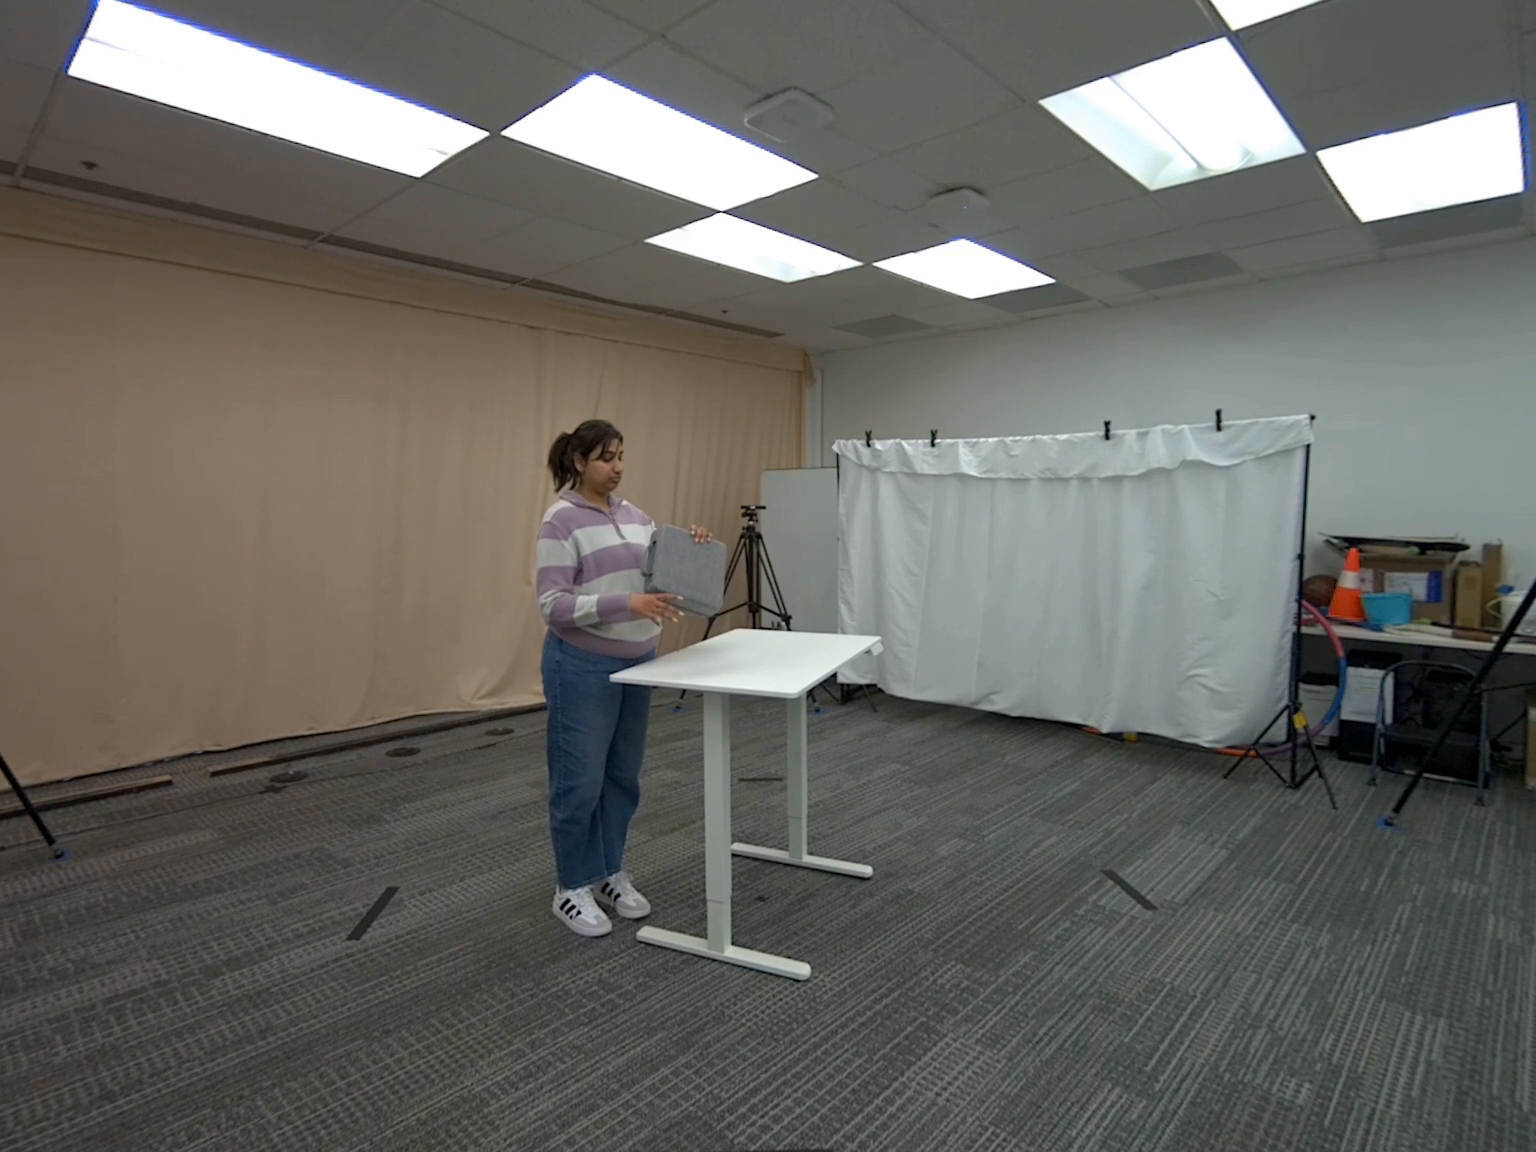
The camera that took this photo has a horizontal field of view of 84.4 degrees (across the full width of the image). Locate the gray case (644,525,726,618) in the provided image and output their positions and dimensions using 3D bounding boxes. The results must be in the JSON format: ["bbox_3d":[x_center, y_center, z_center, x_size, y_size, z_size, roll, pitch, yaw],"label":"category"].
[{"bbox_3d":[-0.263,-0.018,2.700,0.254,0.260,0.106,16,-28,-24],"label":"gray case"}]
